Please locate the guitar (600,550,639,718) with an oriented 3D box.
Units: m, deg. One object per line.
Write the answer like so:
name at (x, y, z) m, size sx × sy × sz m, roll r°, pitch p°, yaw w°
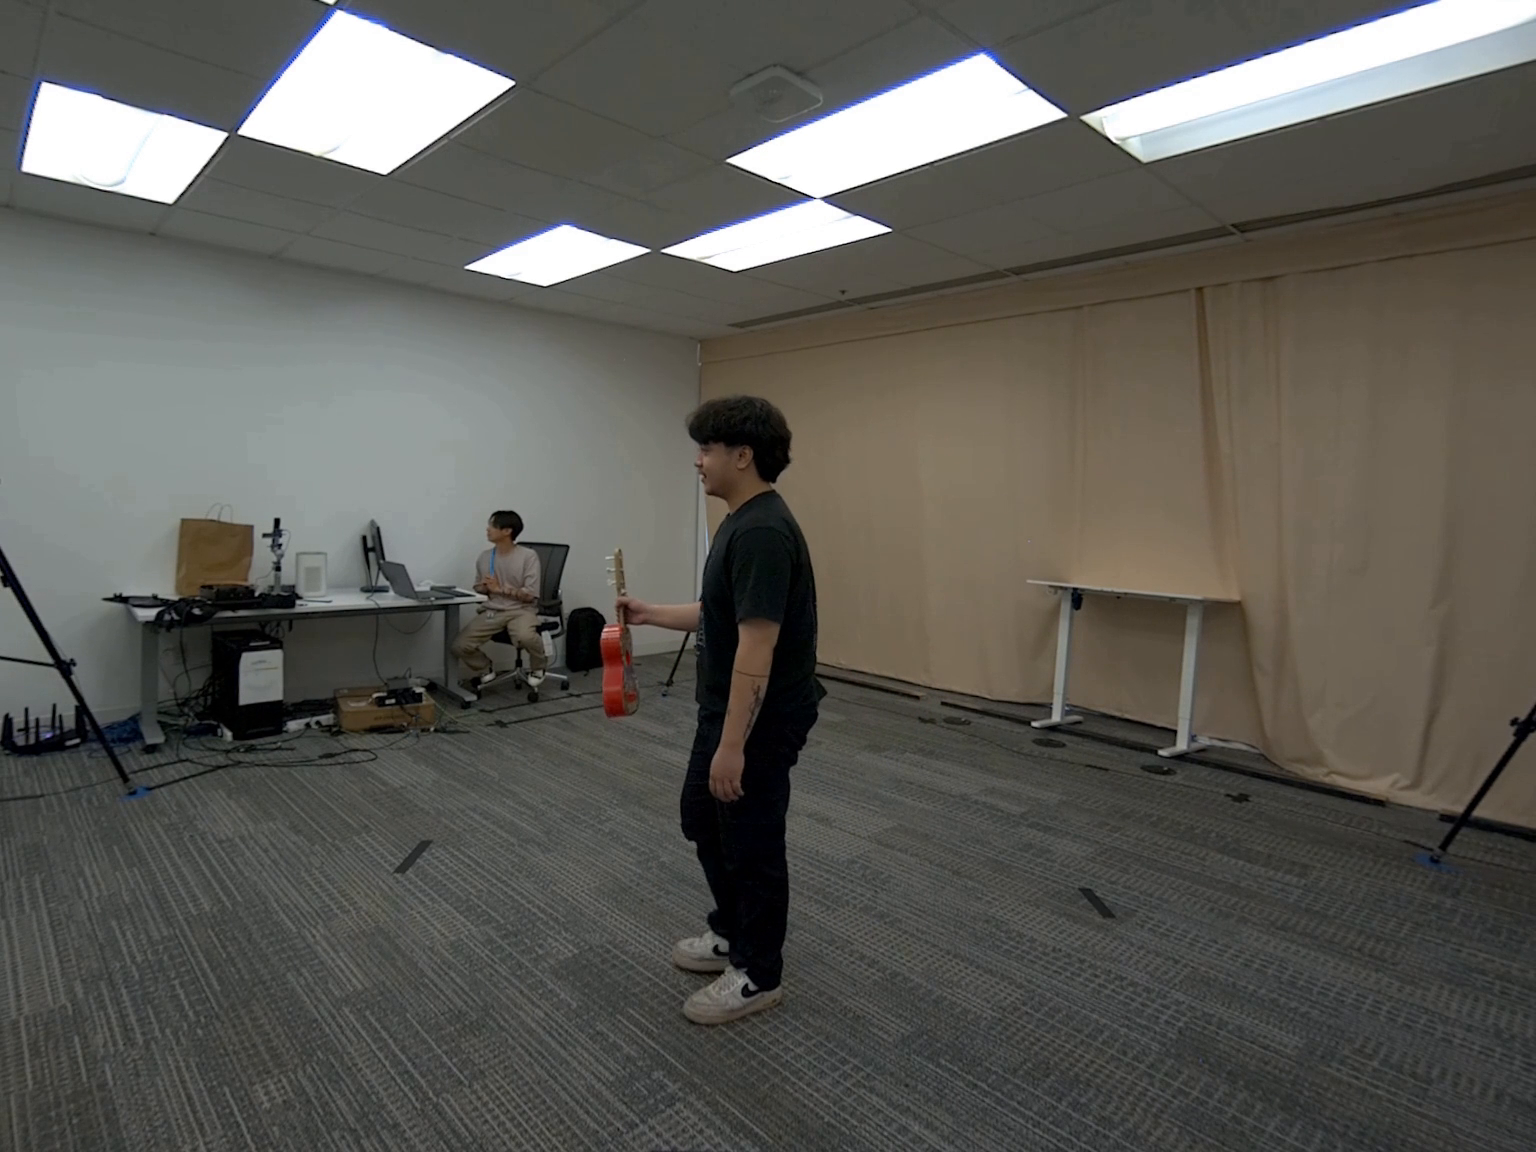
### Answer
guitar at (-0.455, 0.179, 2.561) m, size 0.071 × 0.502 × 0.190 m, roll -5°, pitch -10°, yaw 12°
